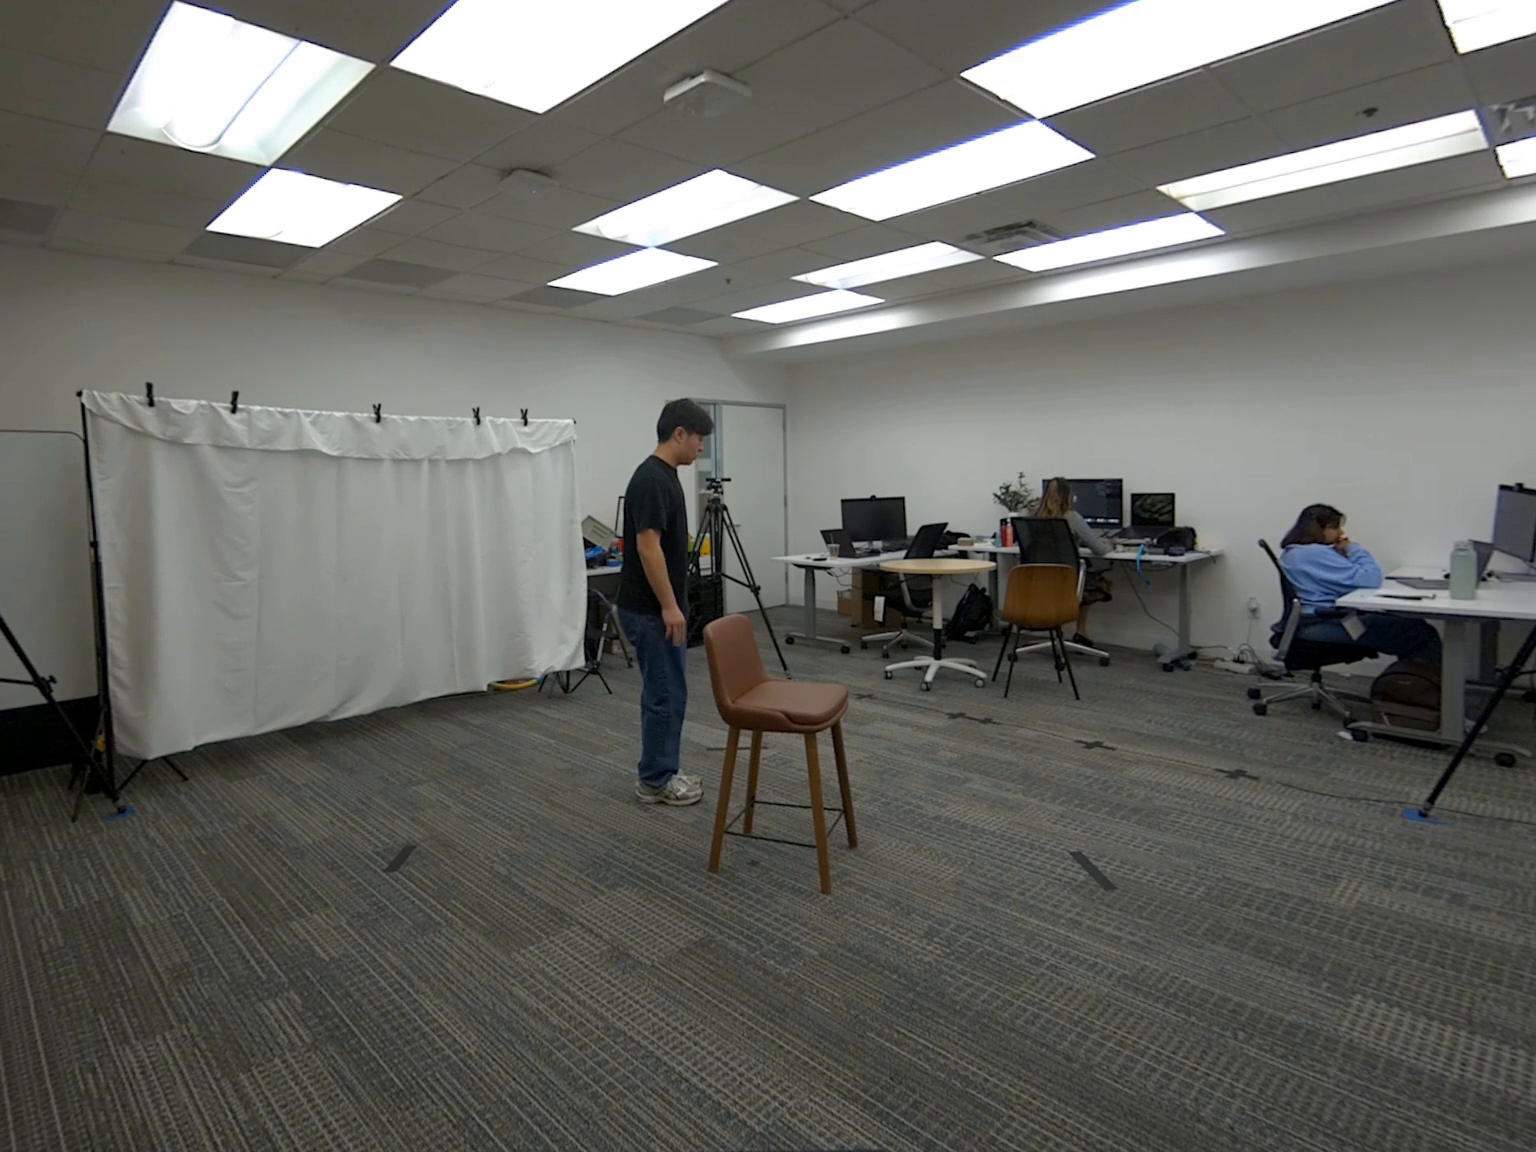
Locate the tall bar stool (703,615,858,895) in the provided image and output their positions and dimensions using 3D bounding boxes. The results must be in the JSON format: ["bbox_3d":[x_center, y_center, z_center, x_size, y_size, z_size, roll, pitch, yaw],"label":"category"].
[{"bbox_3d":[0.053,0.606,3.110,0.477,0.888,0.448,-1,3,23],"label":"tall bar stool"}]
